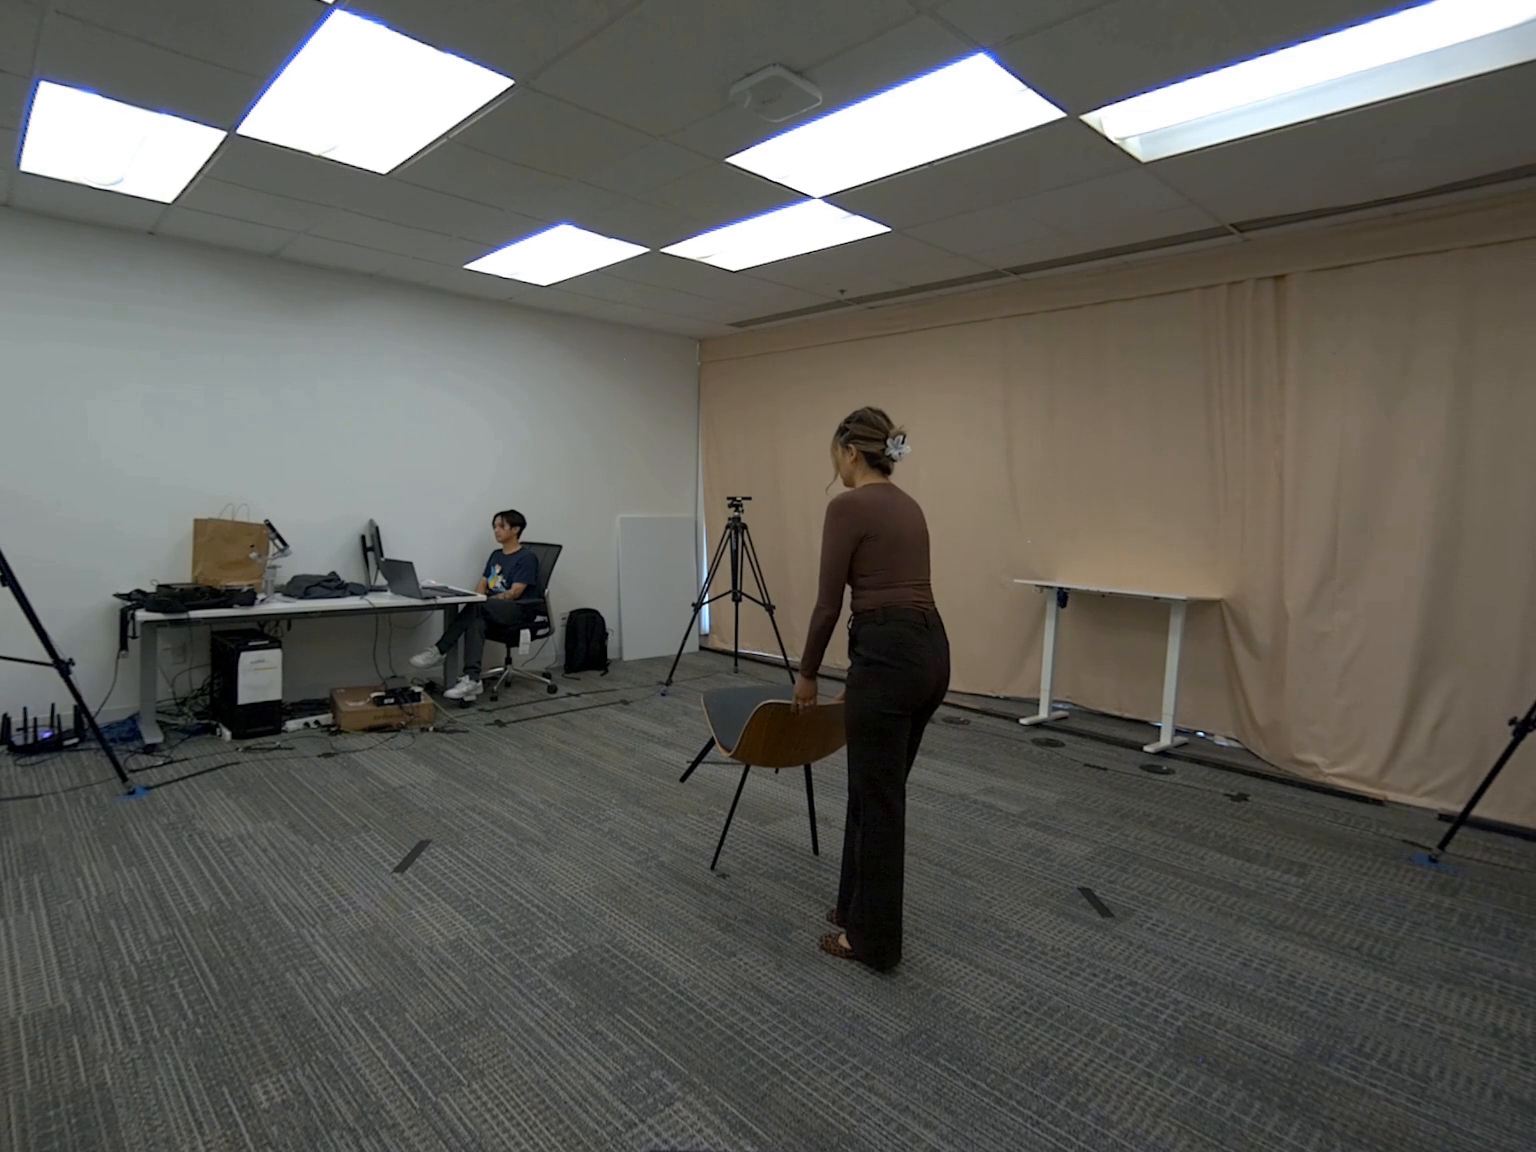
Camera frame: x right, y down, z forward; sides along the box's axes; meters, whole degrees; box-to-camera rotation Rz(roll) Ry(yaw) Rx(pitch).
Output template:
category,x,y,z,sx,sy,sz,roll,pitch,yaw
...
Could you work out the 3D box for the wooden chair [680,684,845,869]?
category,x,y,z,sx,sy,sz,roll,pitch,yaw
wooden chair,-0.003,0.614,3.204,0.470,0.865,0.539,0,36,-22
